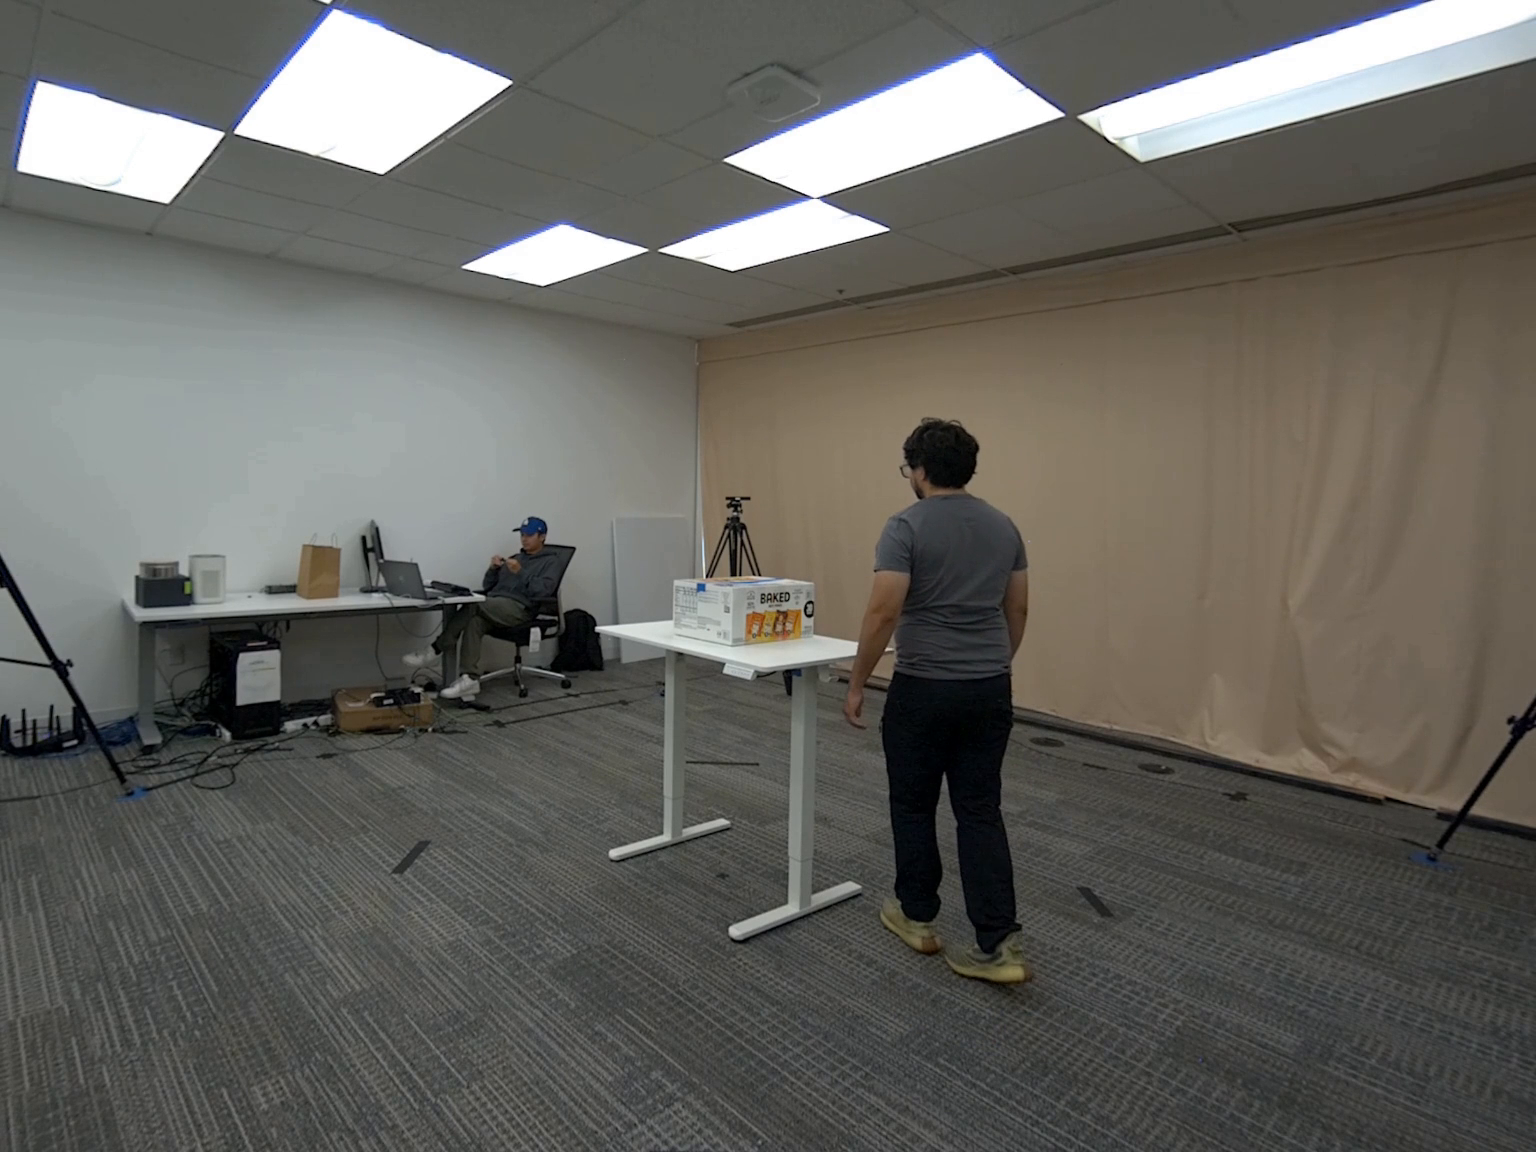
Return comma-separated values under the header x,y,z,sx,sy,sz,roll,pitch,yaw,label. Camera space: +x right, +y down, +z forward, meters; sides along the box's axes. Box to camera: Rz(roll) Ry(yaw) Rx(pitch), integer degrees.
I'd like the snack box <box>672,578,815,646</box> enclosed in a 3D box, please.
x,y,z,sx,sy,sz,roll,pitch,yaw,label
-0.096,0.121,3.119,0.396,0.205,0.349,-3,5,-42,snack box
